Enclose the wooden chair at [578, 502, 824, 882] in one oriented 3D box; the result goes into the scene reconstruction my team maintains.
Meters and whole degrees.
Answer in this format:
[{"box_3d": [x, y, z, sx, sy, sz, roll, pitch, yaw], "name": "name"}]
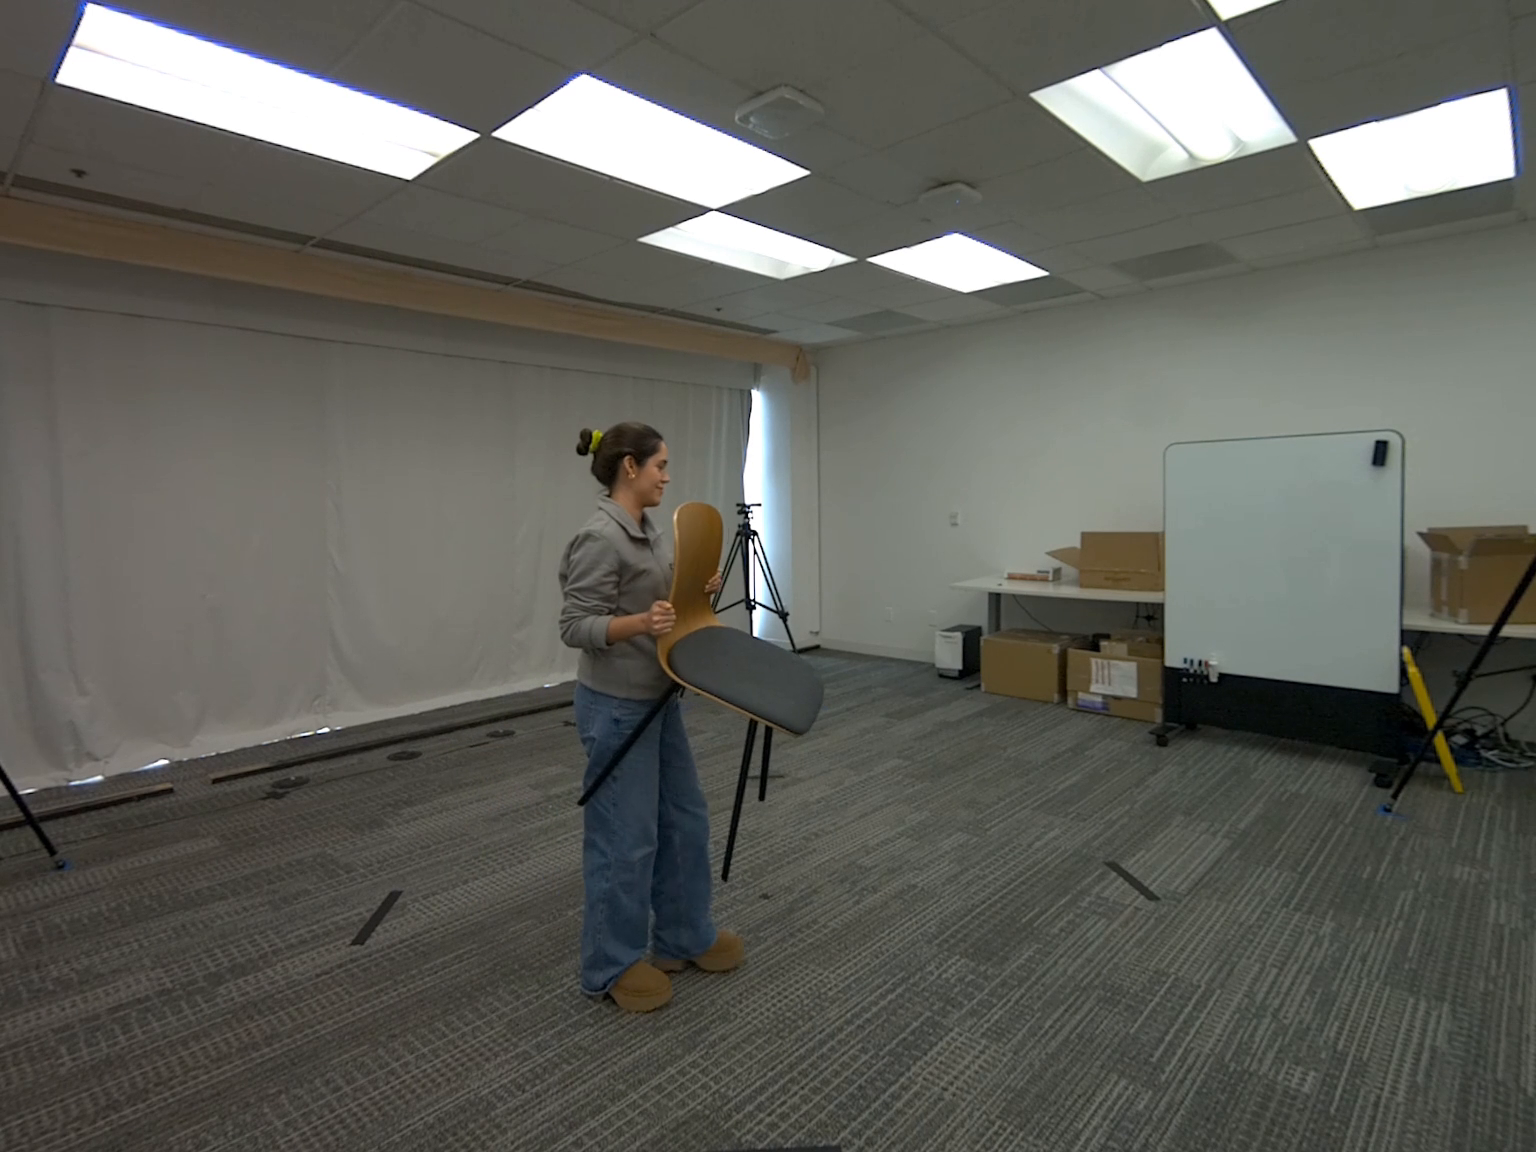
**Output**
[{"box_3d": [-0.097, 0.299, 2.337, 0.531, 0.873, 0.473, 19, 15, 10], "name": "wooden chair"}]
